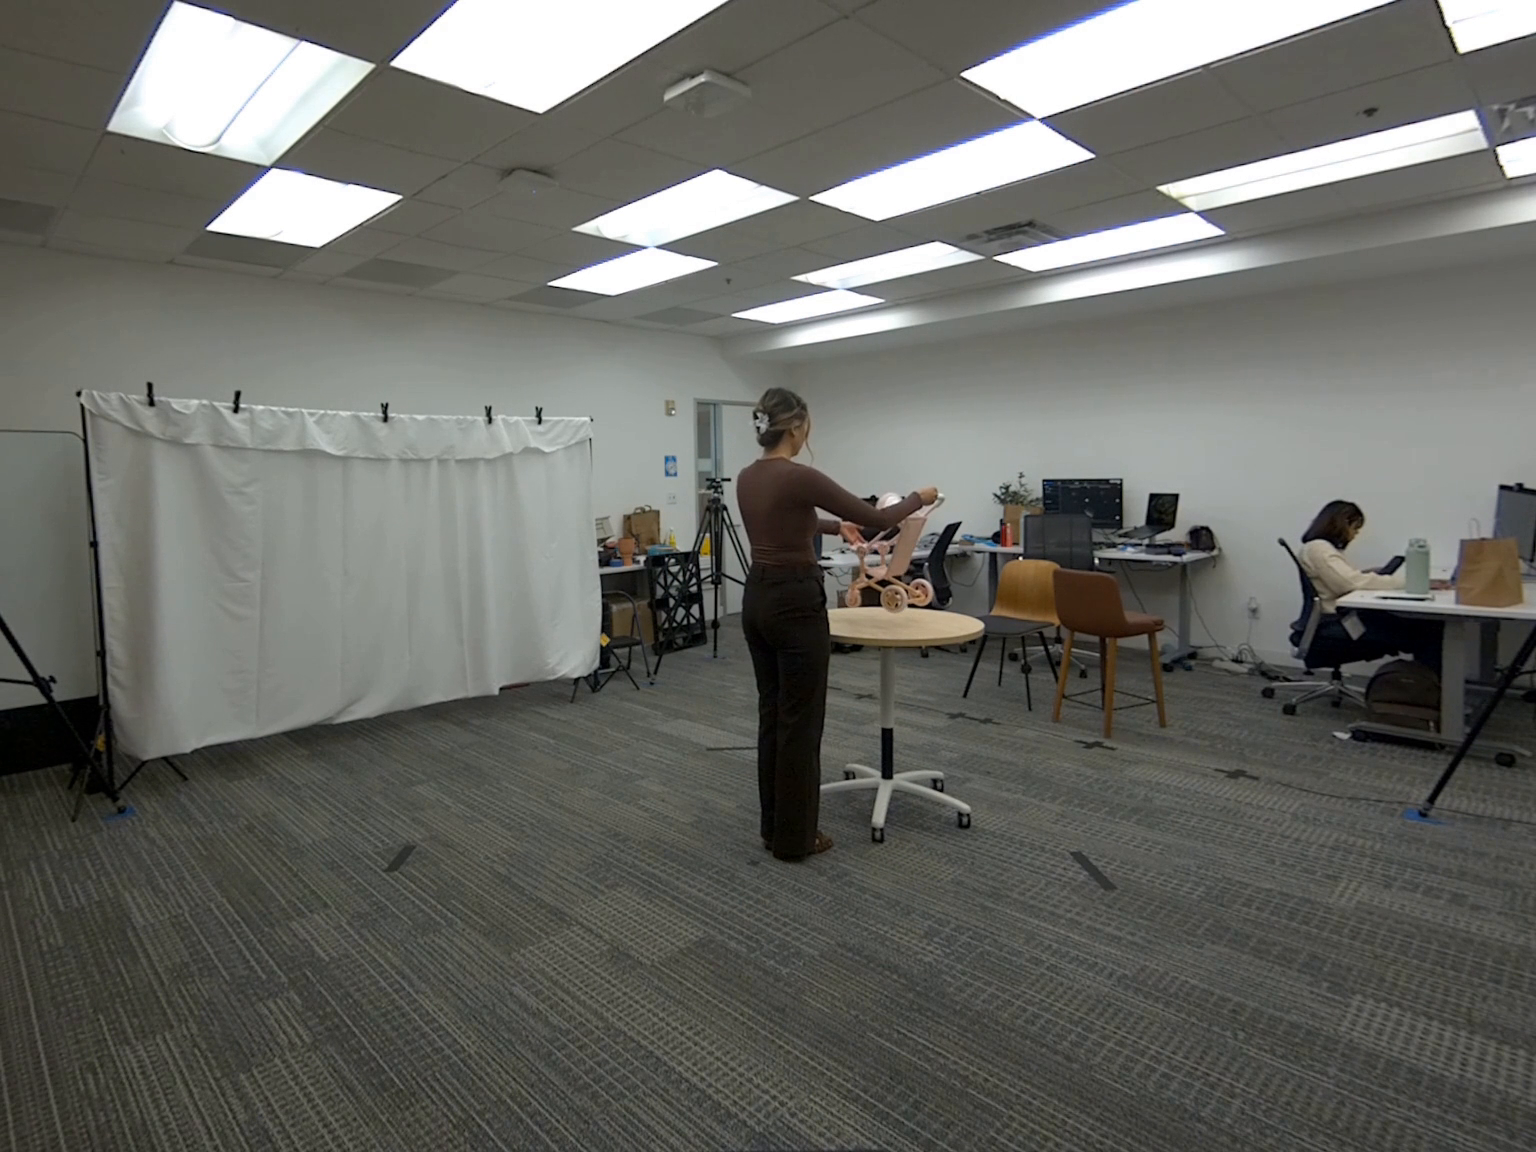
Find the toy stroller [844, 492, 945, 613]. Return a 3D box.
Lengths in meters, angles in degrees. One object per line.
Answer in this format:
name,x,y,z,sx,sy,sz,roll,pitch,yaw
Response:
toy stroller,0.497,-0.097,3.484,0.353,0.531,0.274,15,13,39
